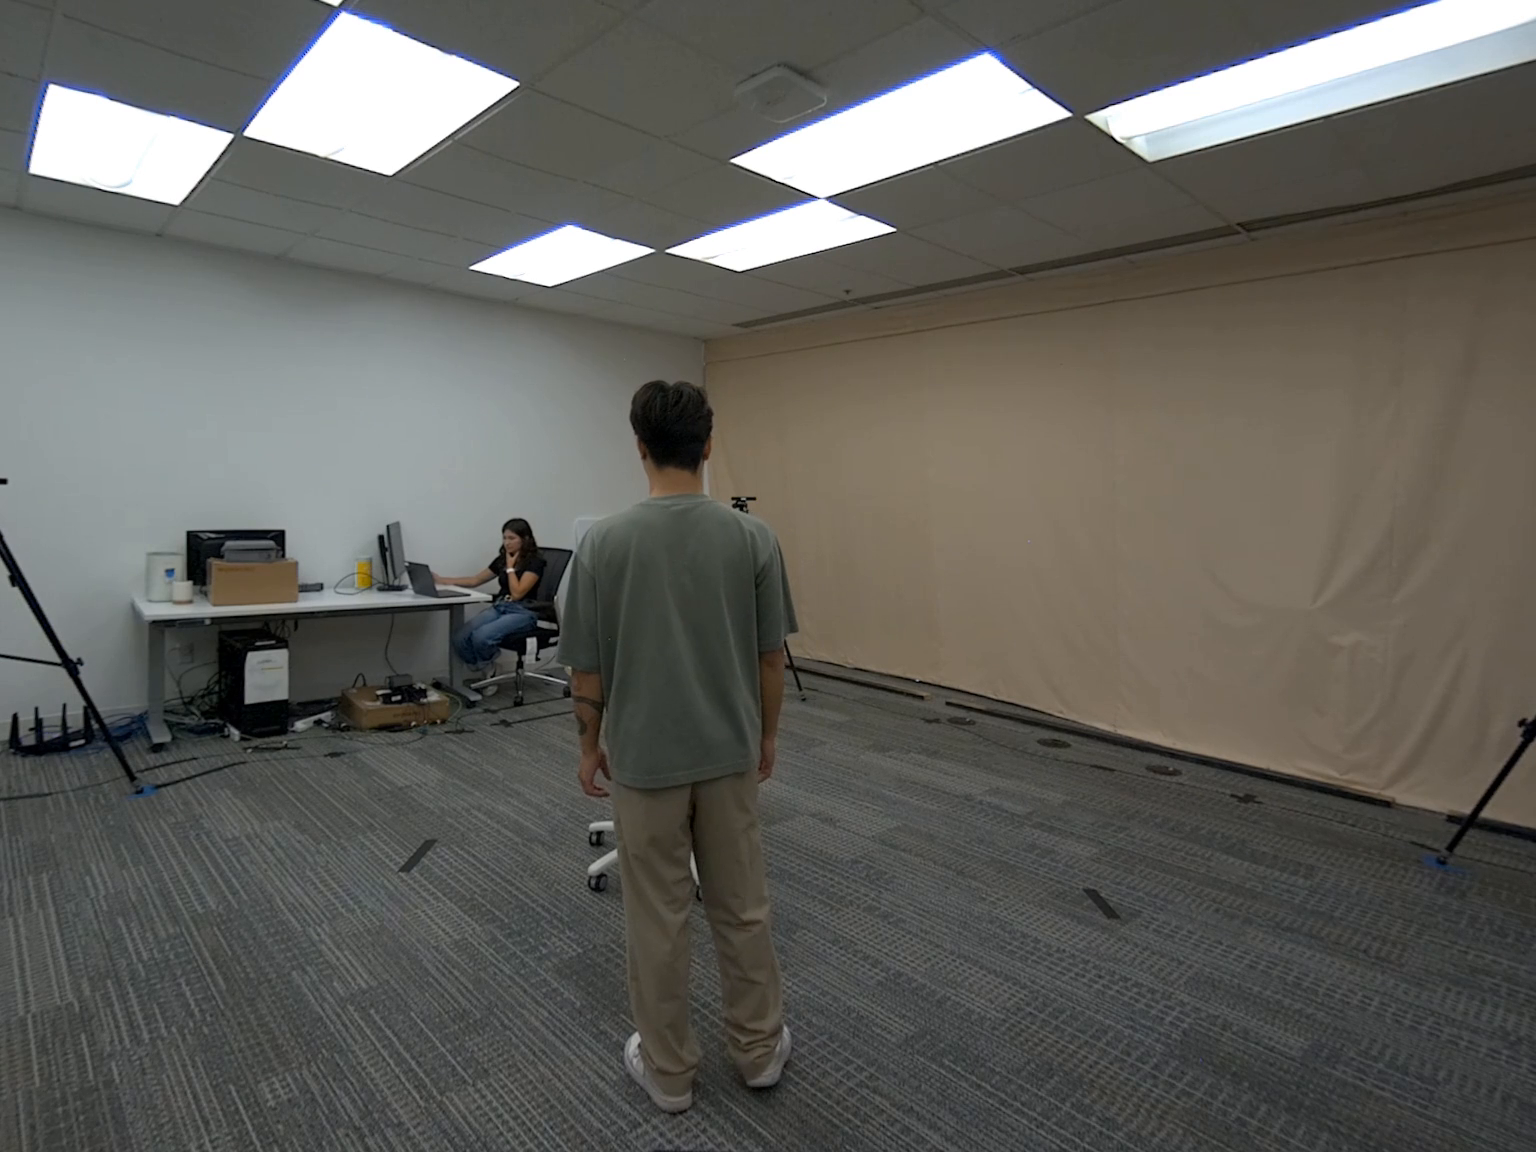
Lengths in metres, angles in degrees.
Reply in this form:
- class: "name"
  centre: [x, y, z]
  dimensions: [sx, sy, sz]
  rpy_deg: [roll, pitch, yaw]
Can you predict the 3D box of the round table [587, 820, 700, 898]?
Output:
- class: "round table"
  centre: [-0.391, 0.704, 3.184]
  dimensions: [0.784, 0.784, 0.788]
  rpy_deg: [1, 4, -1]
